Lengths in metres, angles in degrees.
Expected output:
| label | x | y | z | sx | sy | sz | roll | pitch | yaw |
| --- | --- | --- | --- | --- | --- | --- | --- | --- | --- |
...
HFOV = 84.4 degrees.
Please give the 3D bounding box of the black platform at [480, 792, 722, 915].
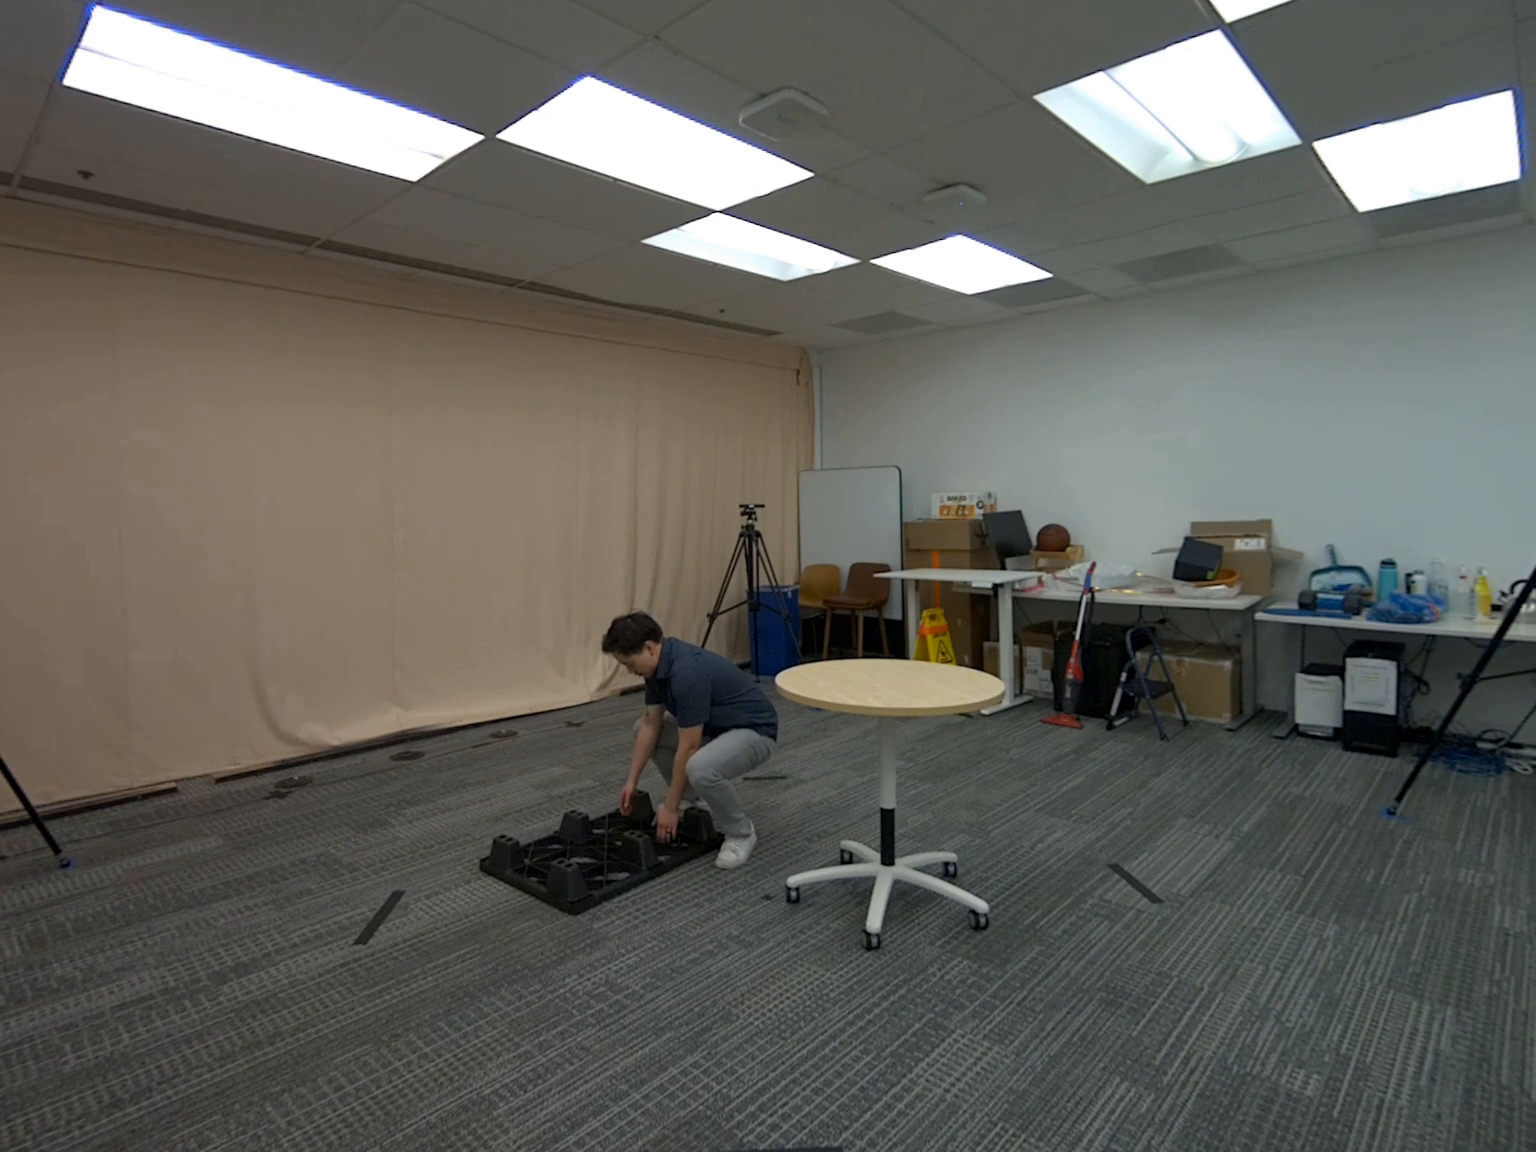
| label | x | y | z | sx | sy | sz | roll | pitch | yaw |
| --- | --- | --- | --- | --- | --- | --- | --- | --- | --- |
| black platform | -0.651 | 1.054 | 3.365 | 0.625 | 0.143 | 0.781 | 4 | 6 | 40 |
